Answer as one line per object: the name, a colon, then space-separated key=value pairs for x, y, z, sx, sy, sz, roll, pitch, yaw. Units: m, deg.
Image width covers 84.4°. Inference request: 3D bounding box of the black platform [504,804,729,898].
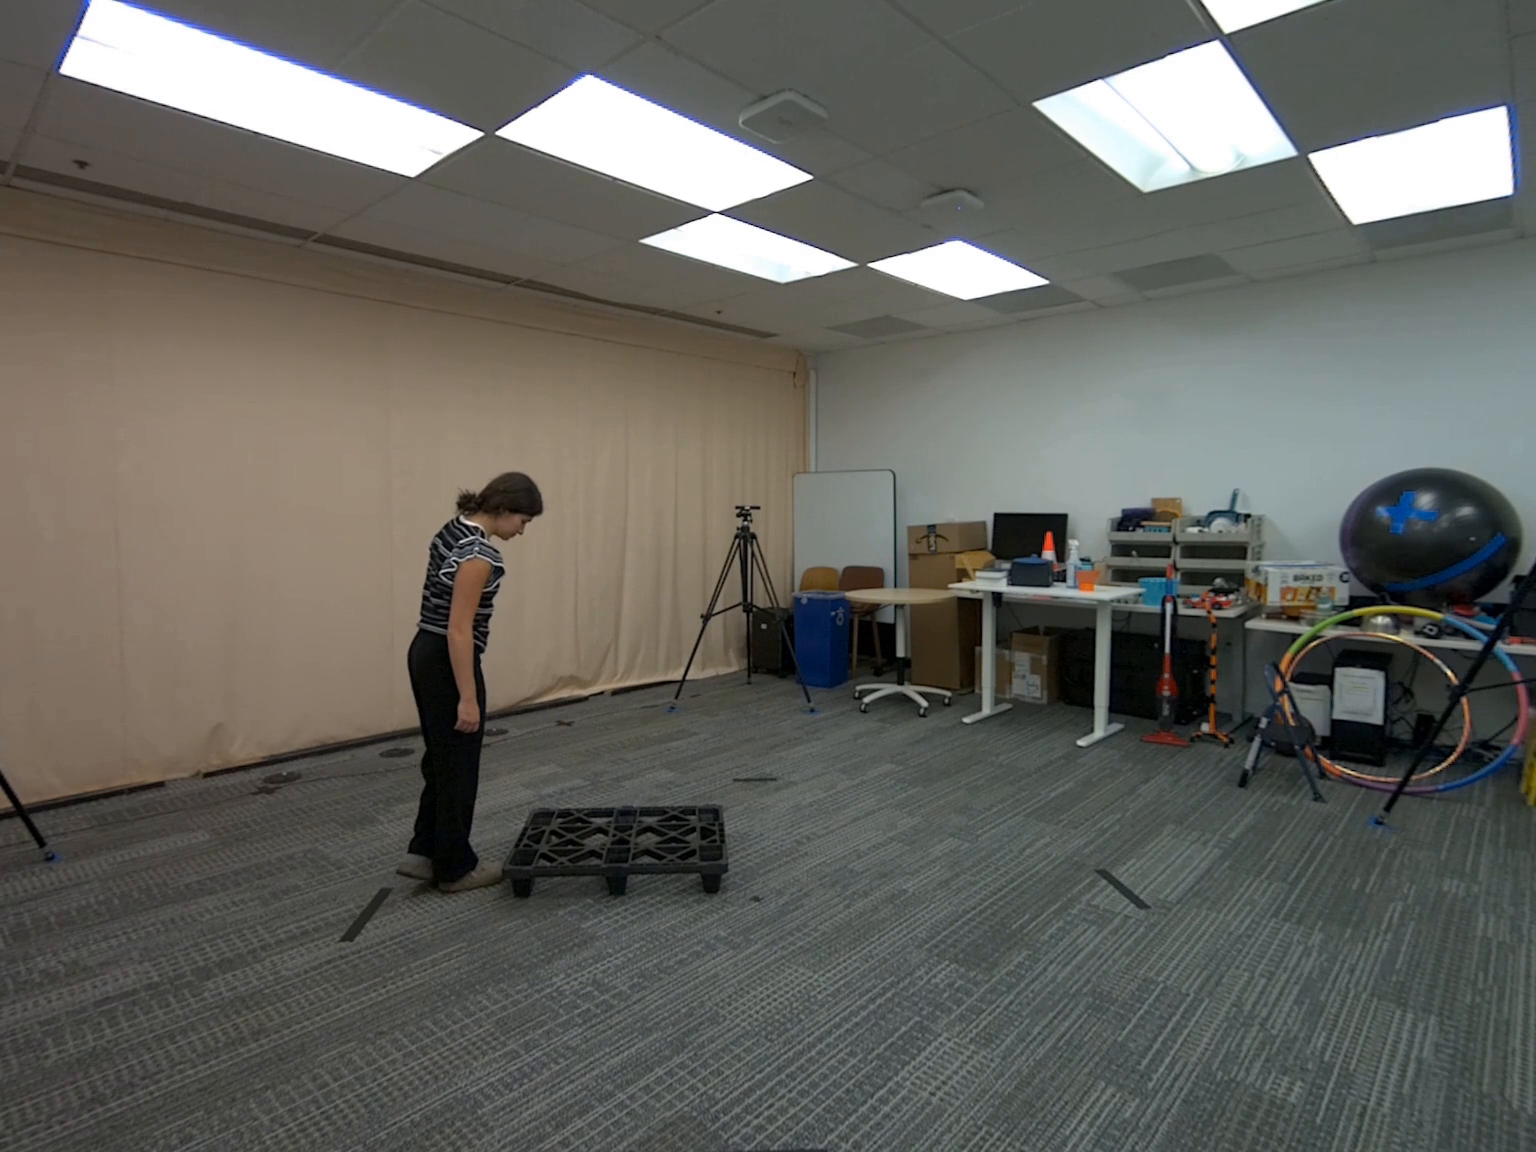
black platform: x=-0.563 y=1.059 z=3.247 sx=0.804 sy=0.143 sz=0.608 roll=0 pitch=4 yaw=-3
